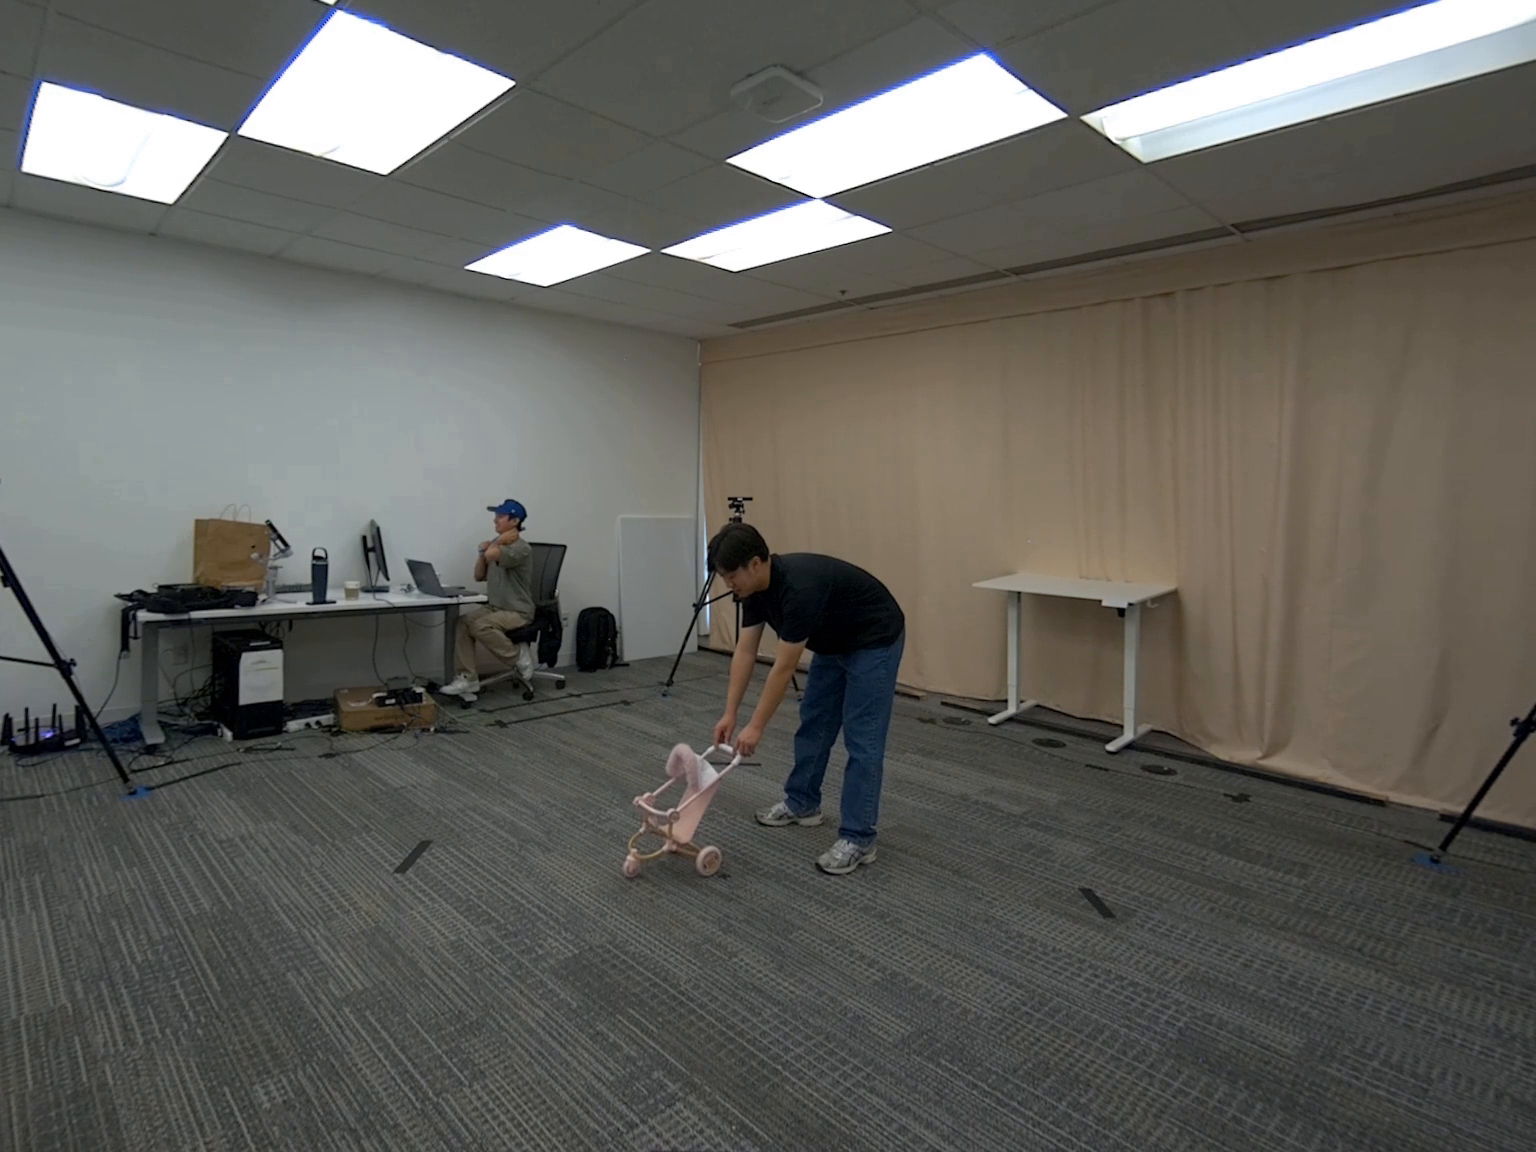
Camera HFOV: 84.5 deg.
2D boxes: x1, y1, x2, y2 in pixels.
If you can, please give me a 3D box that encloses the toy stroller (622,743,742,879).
[{"bbox_3d":[-0.343,0.873,3.165,0.333,0.536,0.288,19,-6,-29],"label":"toy stroller"}]
